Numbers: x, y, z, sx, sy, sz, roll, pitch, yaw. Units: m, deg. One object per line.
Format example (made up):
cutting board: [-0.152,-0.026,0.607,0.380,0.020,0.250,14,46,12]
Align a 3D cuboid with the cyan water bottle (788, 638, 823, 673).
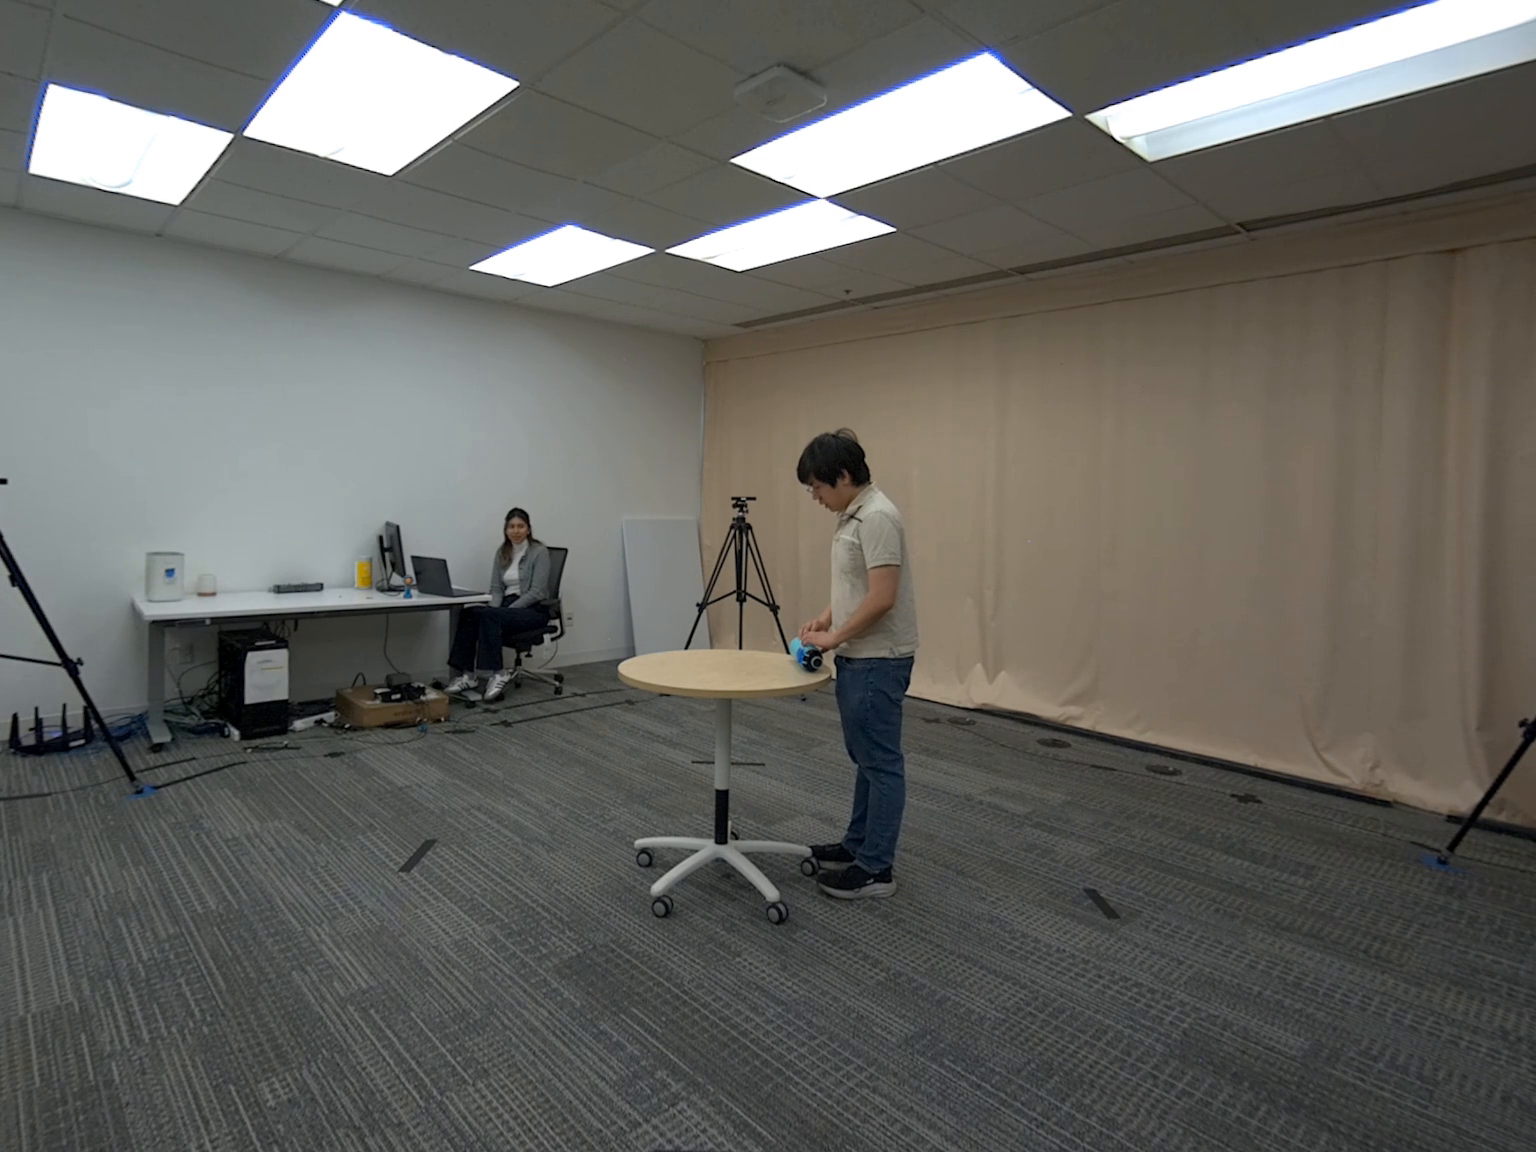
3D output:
cyan water bottle: [0.132,0.290,3.076,0.092,0.092,0.285,1,6,-4]
